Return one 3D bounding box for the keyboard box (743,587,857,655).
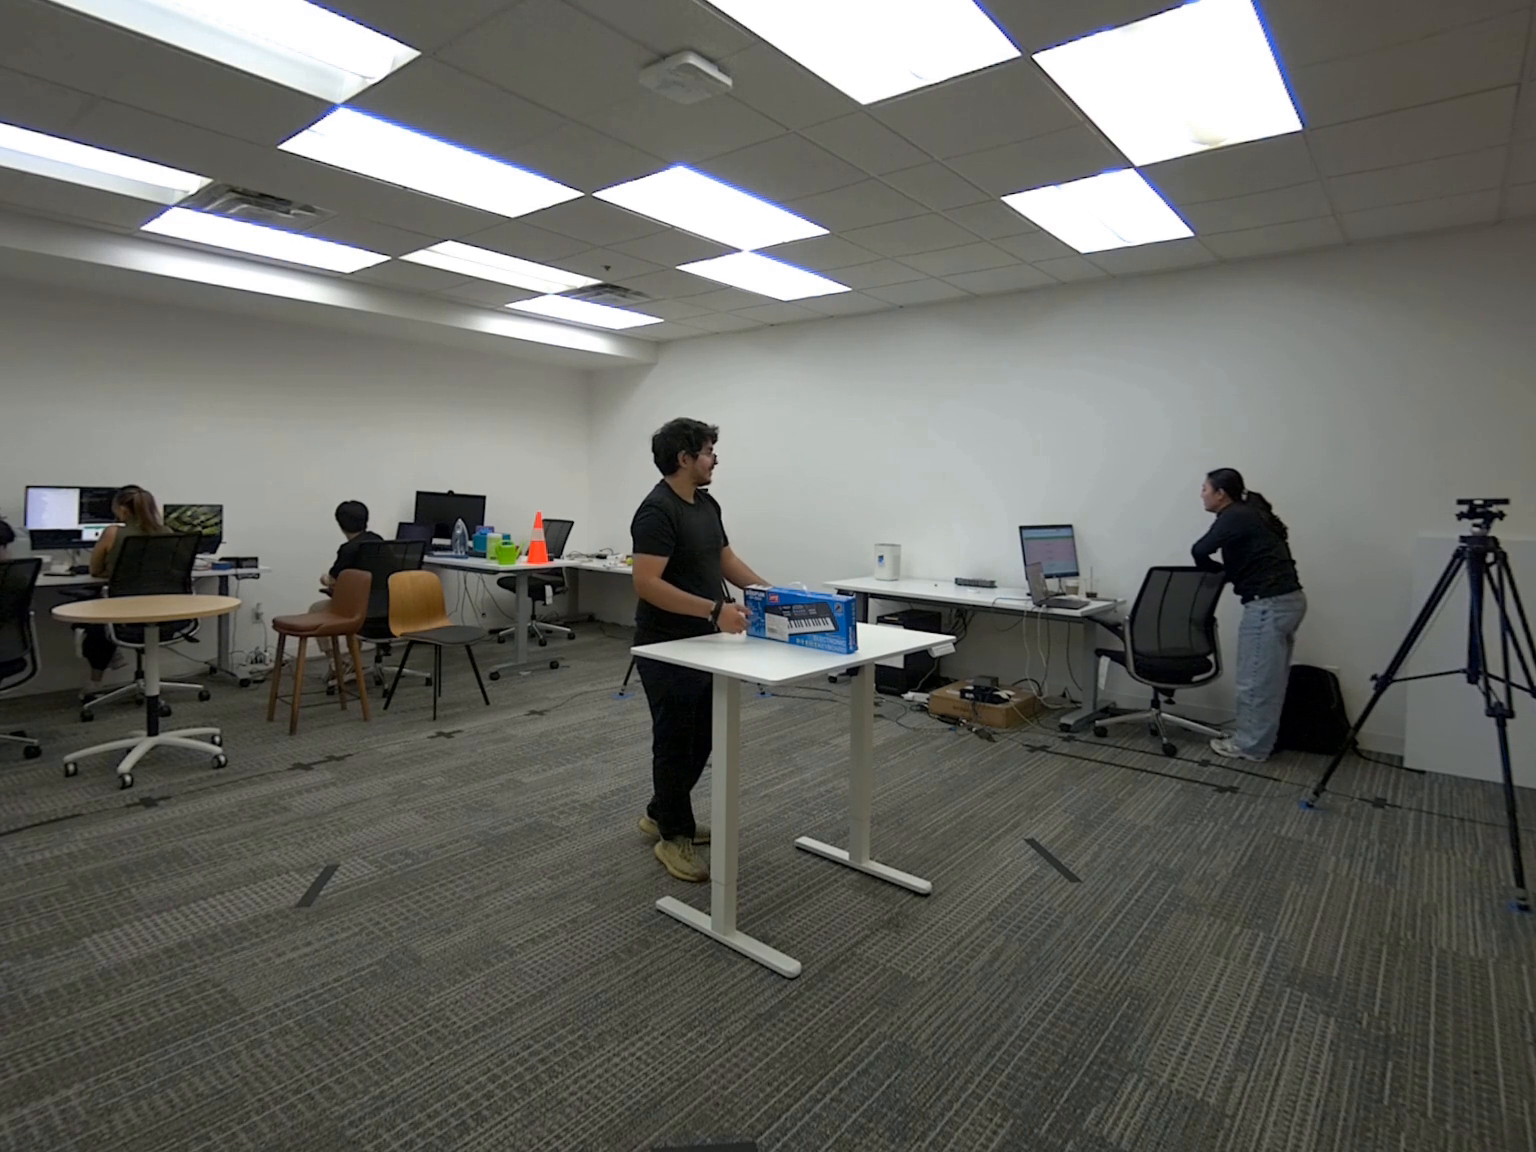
[{"bbox_3d":[0.092,0.138,2.798,0.452,0.174,0.057,6,11,43],"label":"keyboard box"}]
